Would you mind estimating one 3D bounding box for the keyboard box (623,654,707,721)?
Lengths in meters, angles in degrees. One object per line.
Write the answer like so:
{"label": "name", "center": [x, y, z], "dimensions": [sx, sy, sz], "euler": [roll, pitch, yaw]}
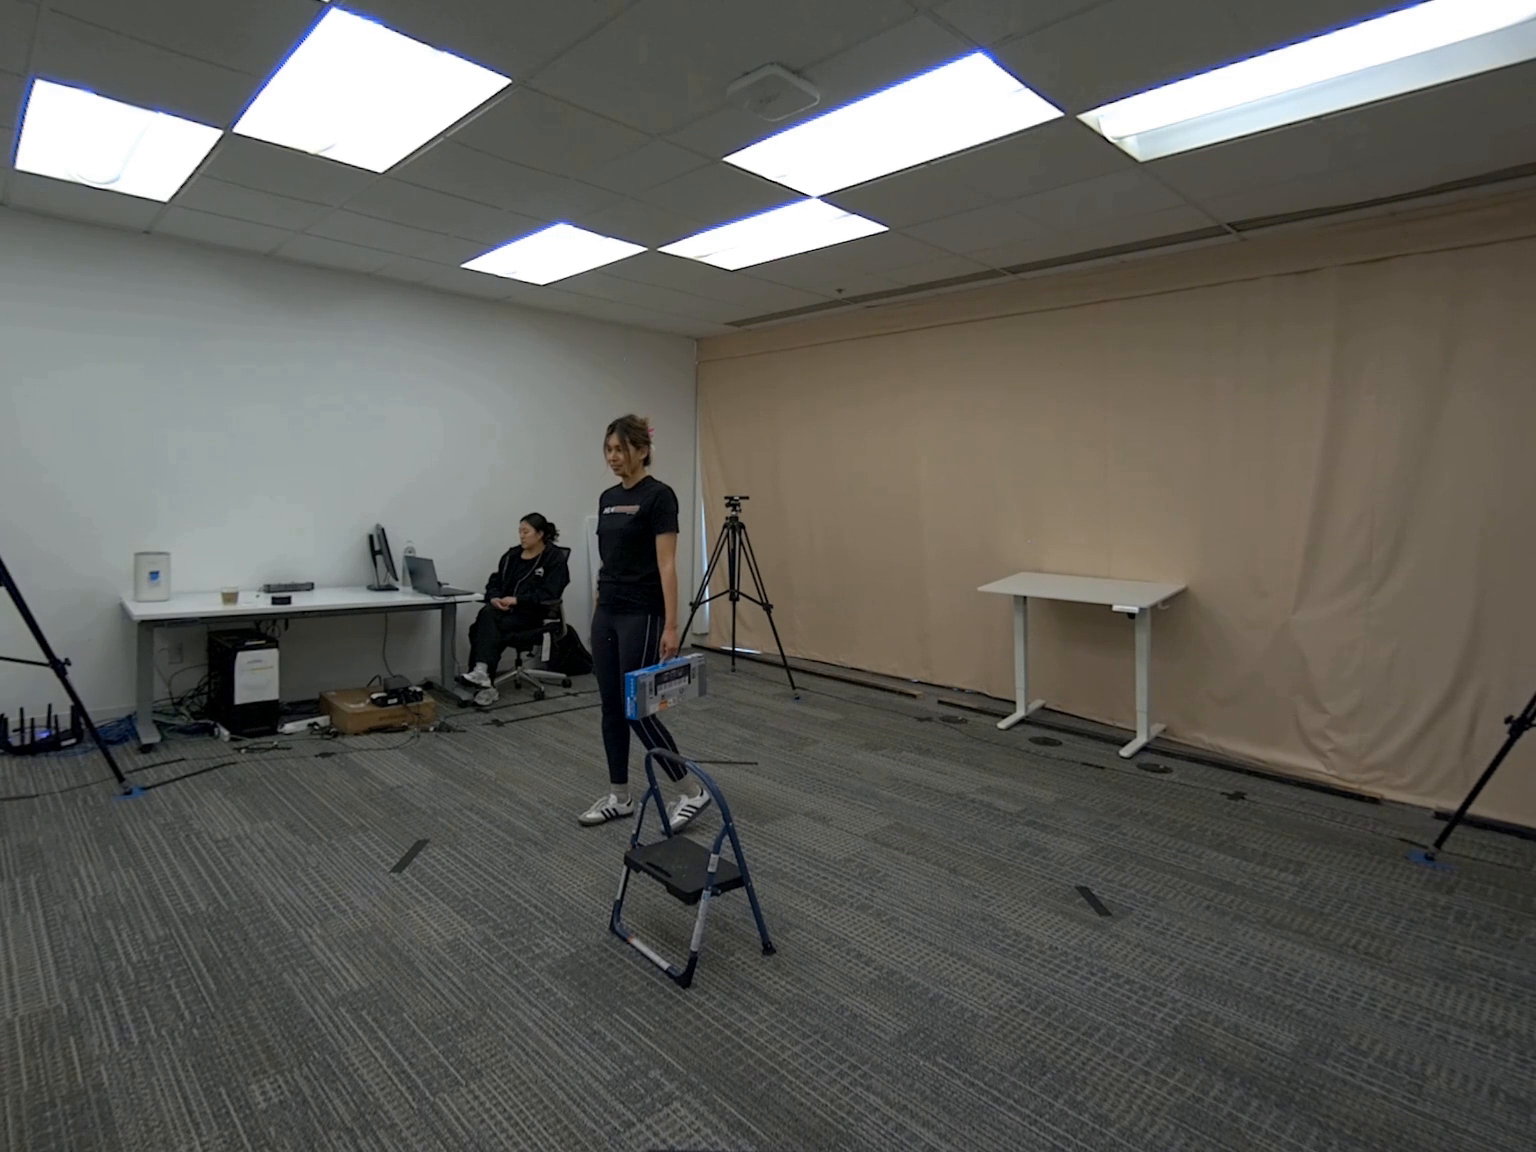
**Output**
{"label": "keyboard box", "center": [-0.411, 0.435, 3.347], "dimensions": [0.060, 0.175, 0.429], "euler": [5, 9, 33]}
